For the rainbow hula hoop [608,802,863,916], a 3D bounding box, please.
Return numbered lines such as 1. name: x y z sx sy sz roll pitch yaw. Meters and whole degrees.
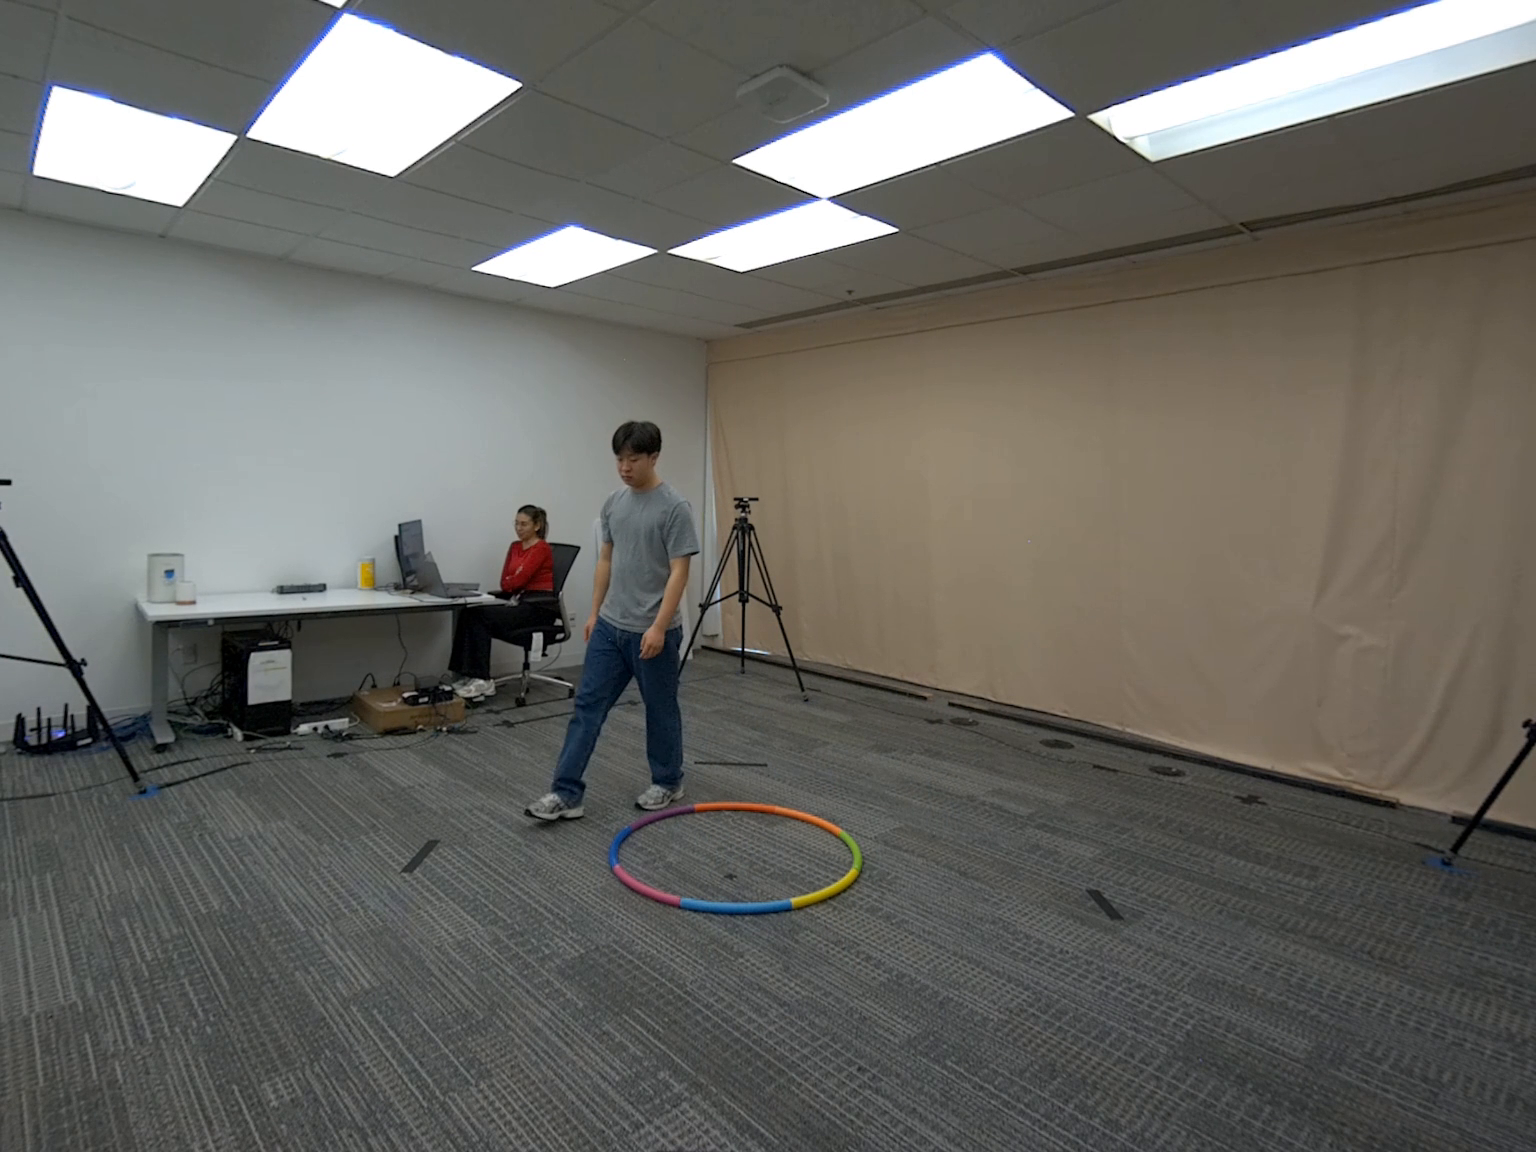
1. rainbow hula hoop: -0.144 1.057 3.301 0.978 0.035 0.982 1 5 -1
